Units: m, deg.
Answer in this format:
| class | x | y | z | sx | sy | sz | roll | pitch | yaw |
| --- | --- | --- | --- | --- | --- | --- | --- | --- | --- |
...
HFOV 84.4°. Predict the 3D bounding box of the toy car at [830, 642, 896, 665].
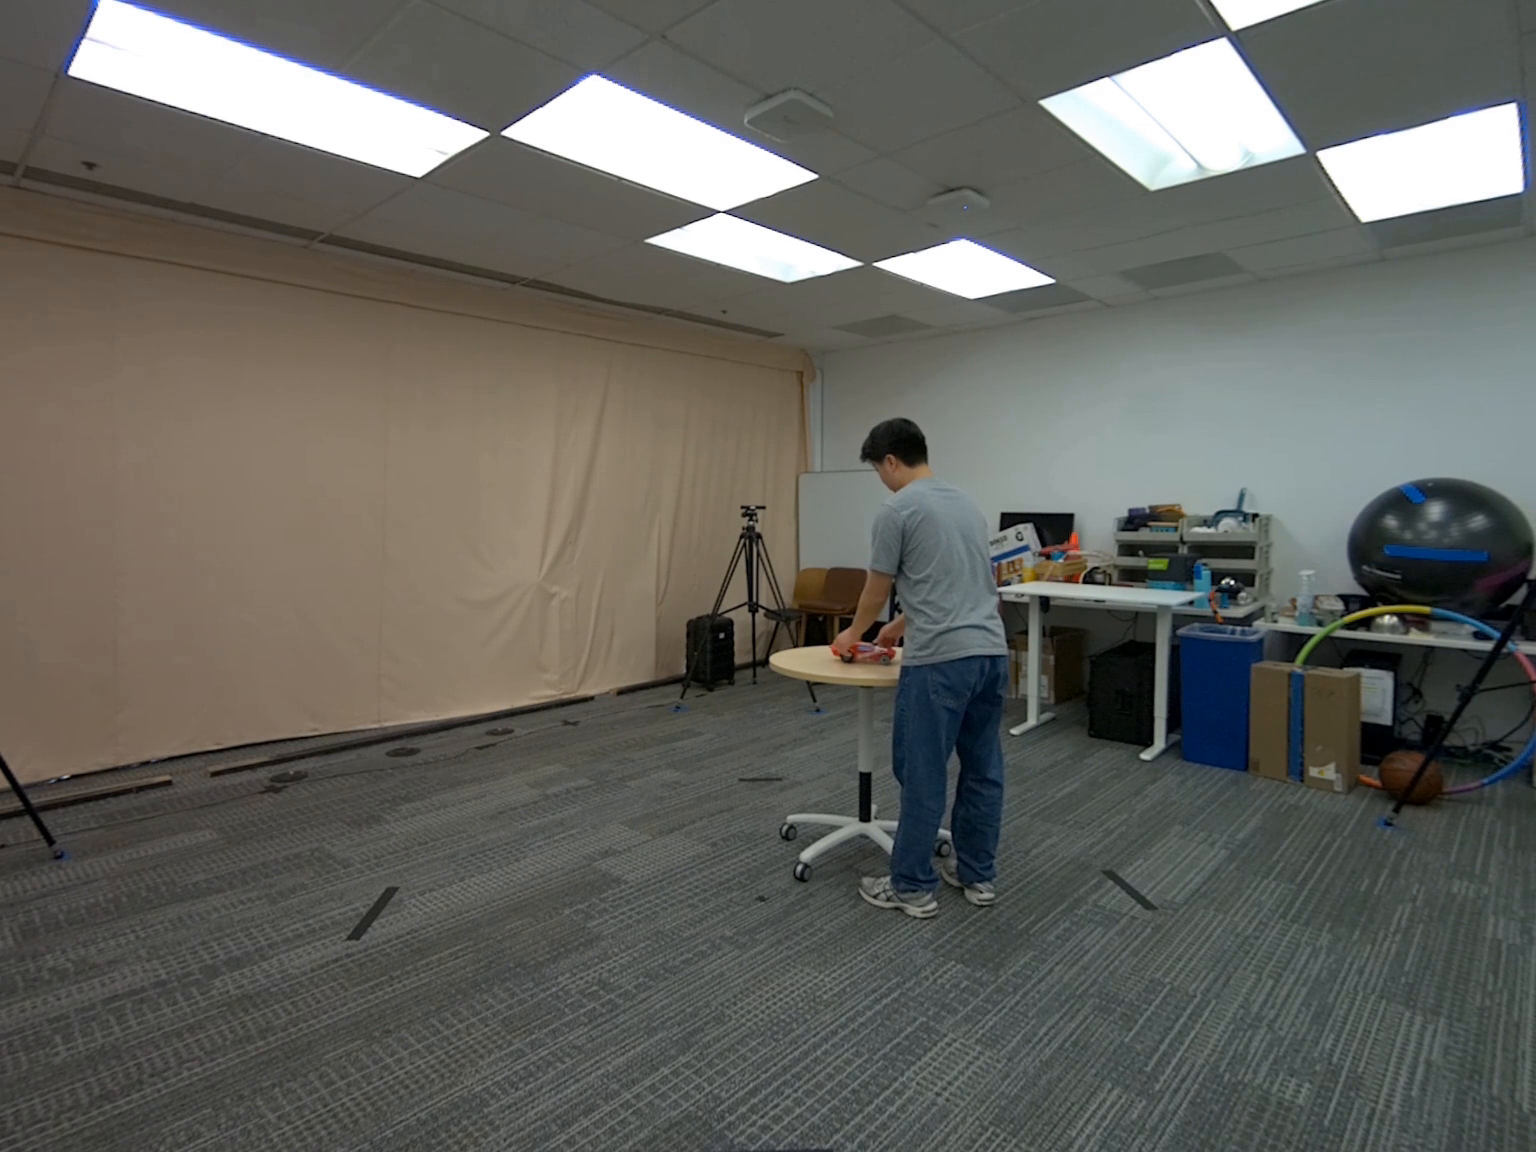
| class | x | y | z | sx | sy | sz | roll | pitch | yaw |
| --- | --- | --- | --- | --- | --- | --- | --- | --- | --- |
| toy car | 0.377 | 0.304 | 3.293 | 0.260 | 0.083 | 0.128 | 15 | 8 | 18 |
